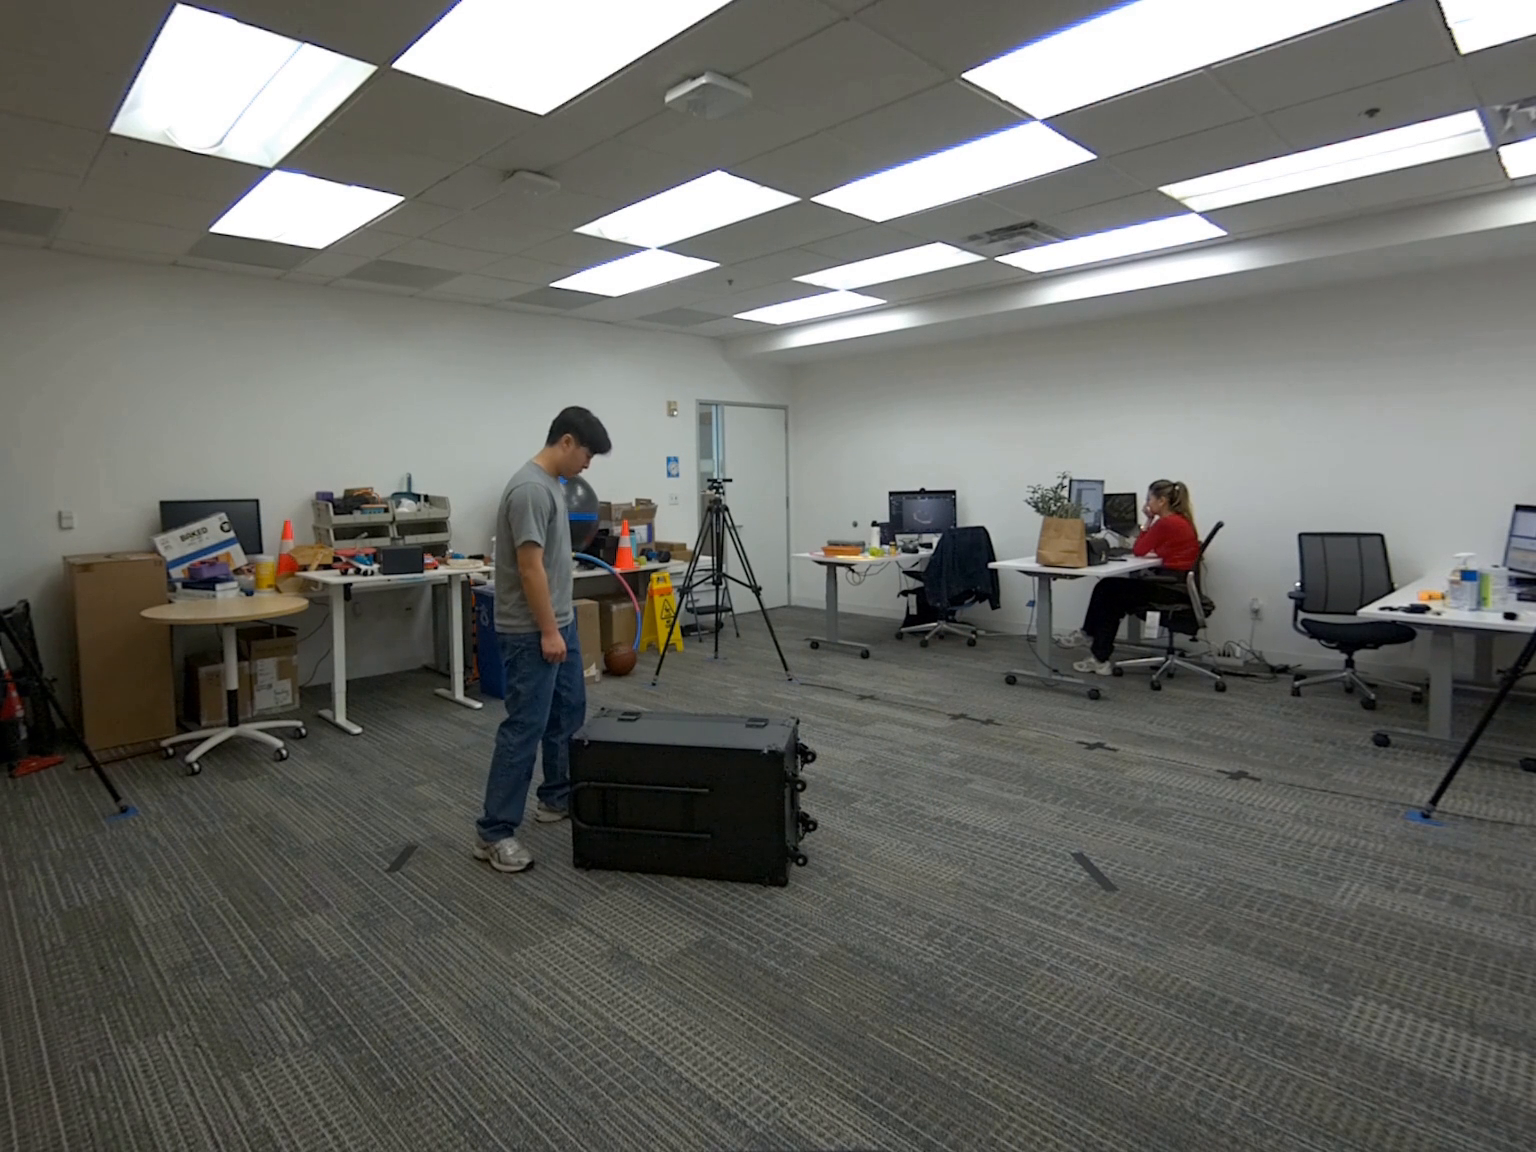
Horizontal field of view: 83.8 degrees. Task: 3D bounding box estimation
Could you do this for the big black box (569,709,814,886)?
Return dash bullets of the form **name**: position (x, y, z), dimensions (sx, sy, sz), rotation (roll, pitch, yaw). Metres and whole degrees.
- **big black box**: position (-0.325, 0.794, 3.146), dimensions (0.873, 0.518, 0.393), rotation (0, 6, 13)
